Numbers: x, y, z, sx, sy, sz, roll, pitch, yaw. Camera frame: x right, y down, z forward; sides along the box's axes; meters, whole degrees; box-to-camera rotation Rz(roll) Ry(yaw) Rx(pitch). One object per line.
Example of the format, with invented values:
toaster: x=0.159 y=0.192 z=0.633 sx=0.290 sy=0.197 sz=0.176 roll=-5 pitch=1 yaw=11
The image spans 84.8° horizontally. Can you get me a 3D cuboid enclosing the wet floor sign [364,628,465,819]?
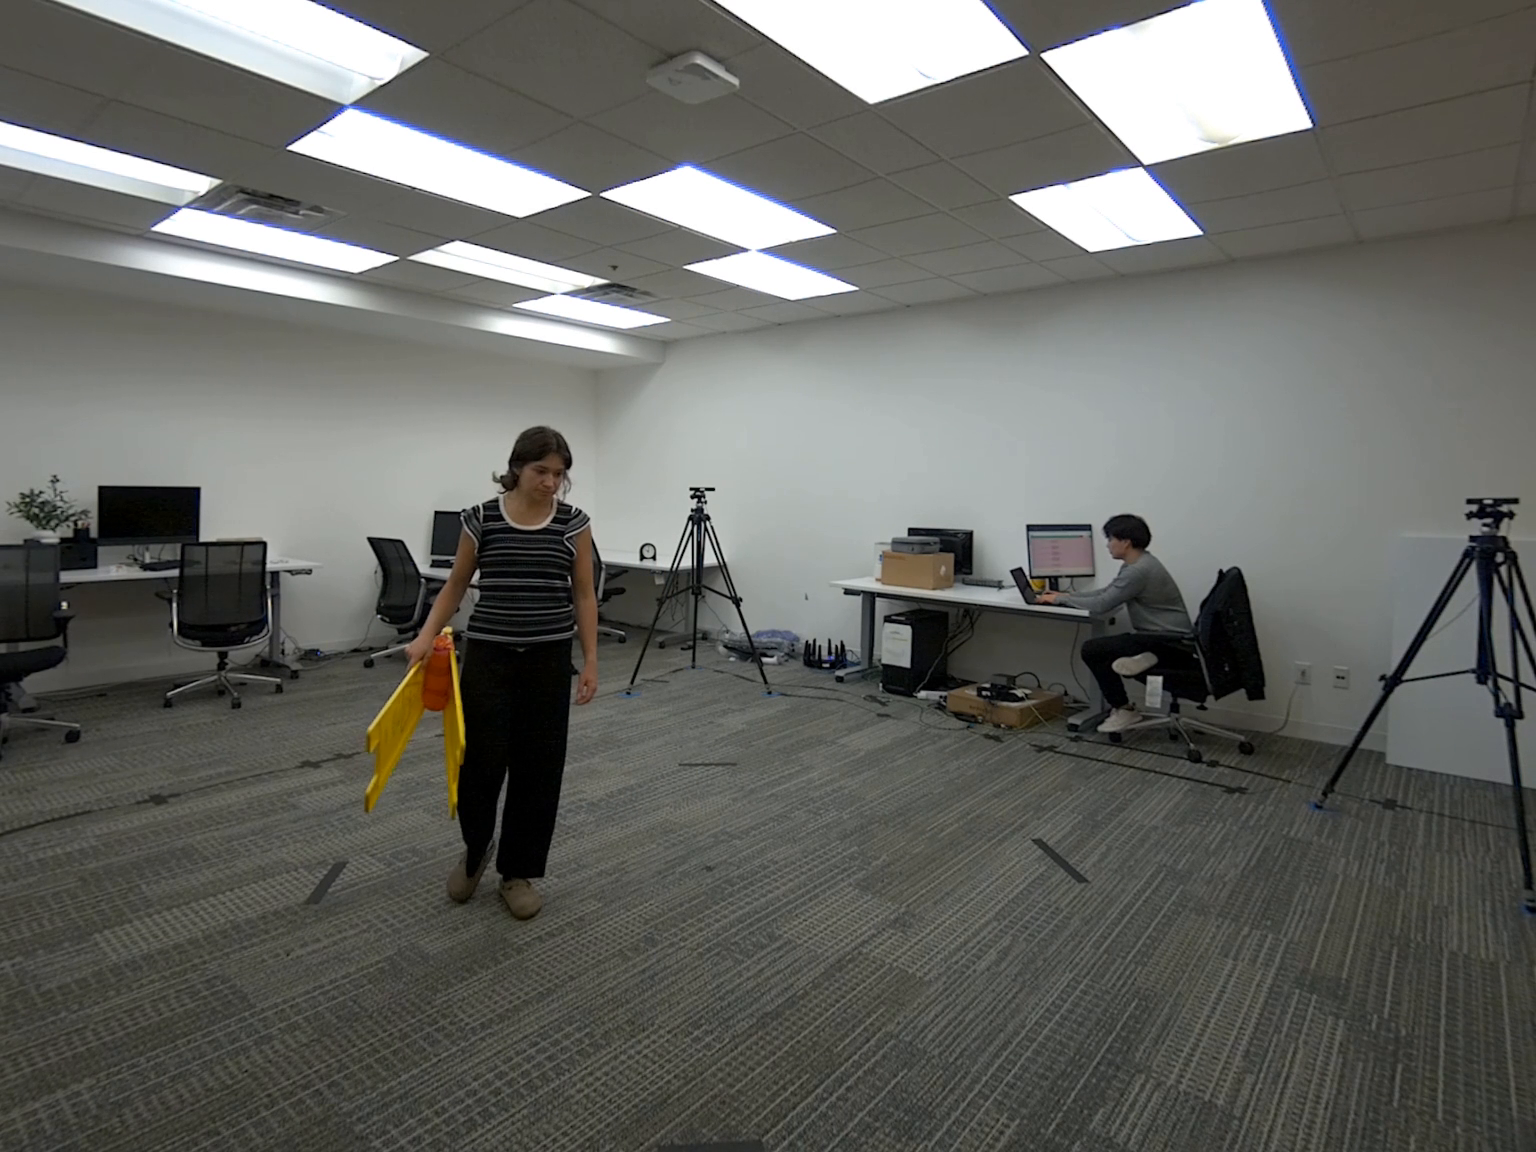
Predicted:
wet floor sign: x=-1.056 y=0.404 z=2.617 sx=0.285 sy=0.278 sz=0.667 roll=8 pitch=25 yaw=-16
